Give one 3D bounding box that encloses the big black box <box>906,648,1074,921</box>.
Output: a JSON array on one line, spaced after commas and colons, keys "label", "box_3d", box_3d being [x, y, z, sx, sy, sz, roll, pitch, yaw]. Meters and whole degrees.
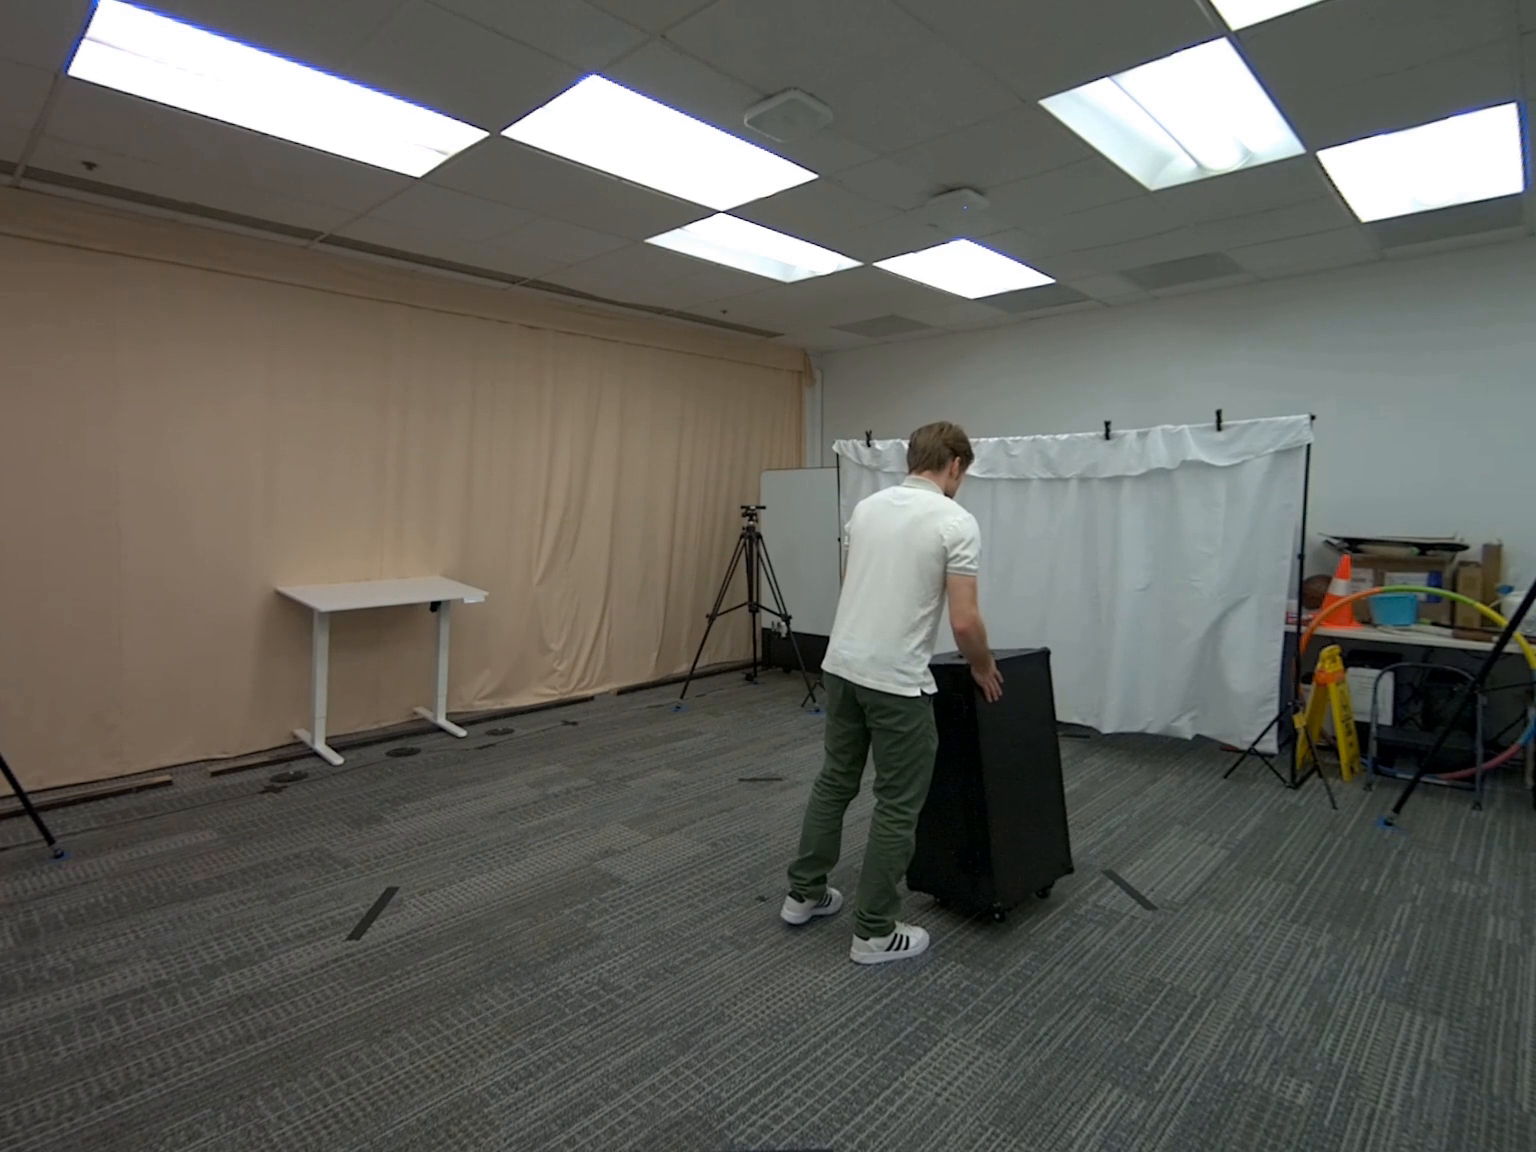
[{"label": "big black box", "box_3d": [0.747, 0.714, 2.958, 0.507, 0.870, 0.396, -3, -4, -41]}]
